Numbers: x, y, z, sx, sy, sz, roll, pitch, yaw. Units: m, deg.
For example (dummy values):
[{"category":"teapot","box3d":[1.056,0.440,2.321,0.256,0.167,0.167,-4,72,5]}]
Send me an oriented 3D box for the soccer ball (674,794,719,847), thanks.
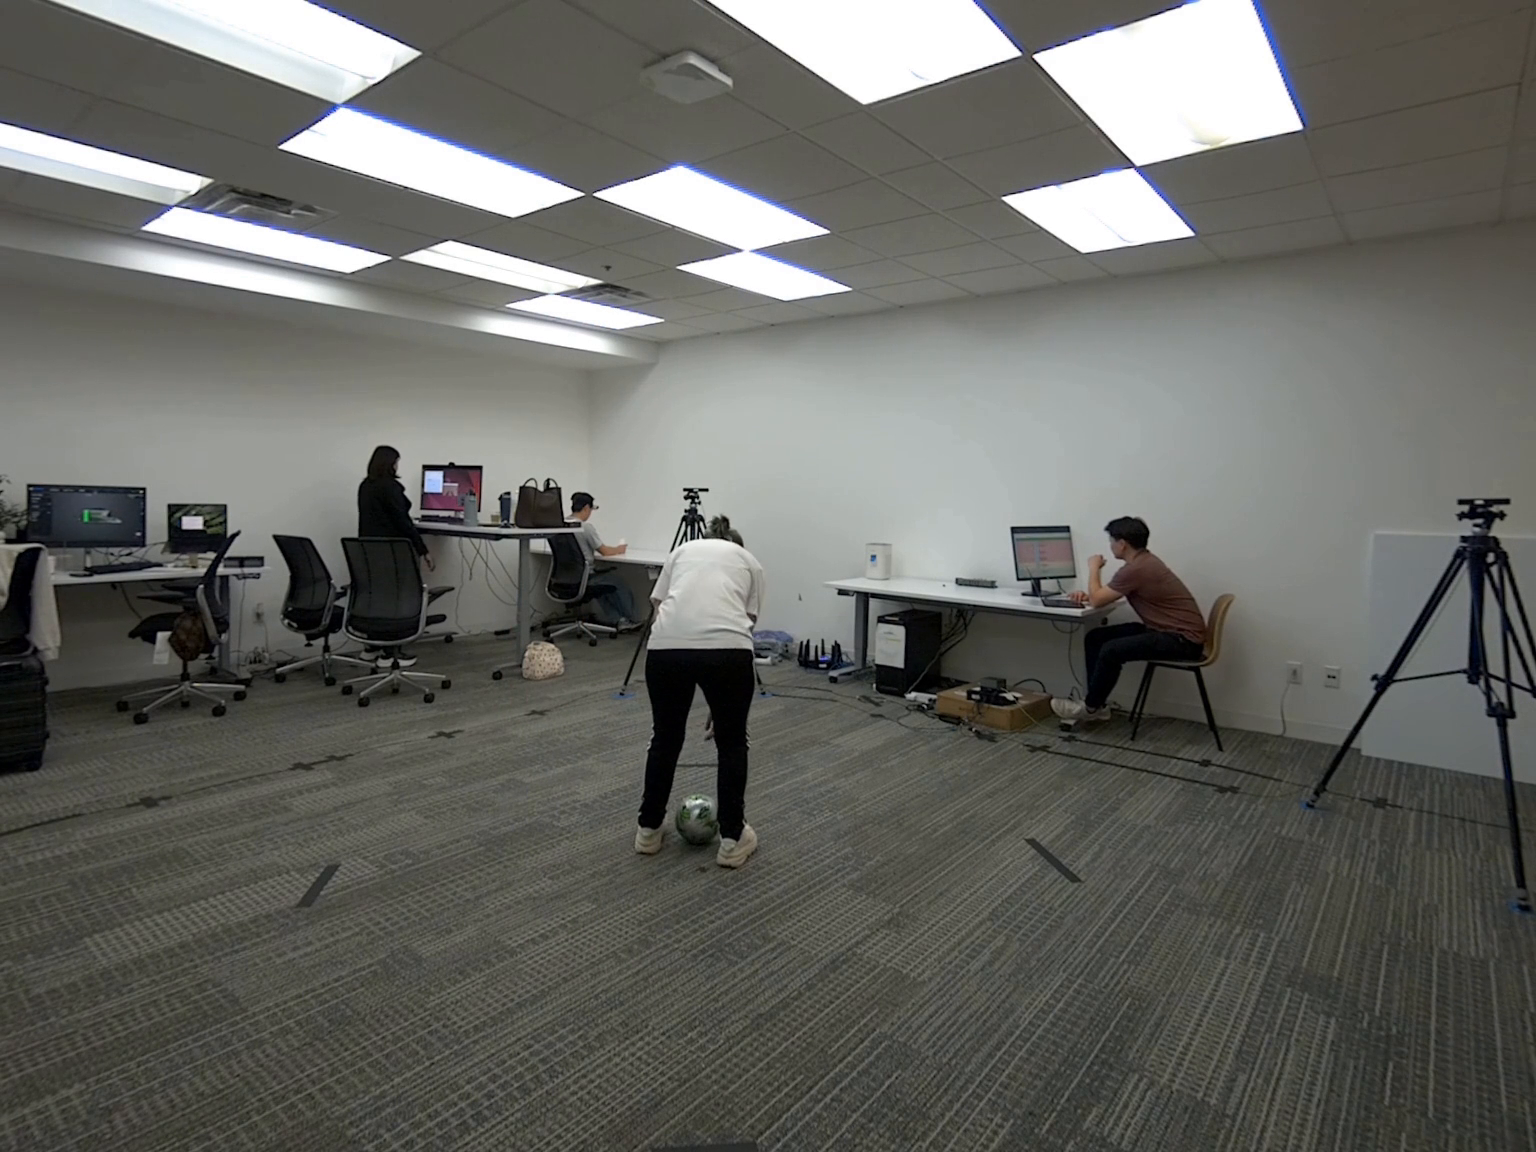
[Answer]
[{"category":"soccer ball","box3d":[-0.285,0.956,3.346,0.187,0.187,0.188,1,4,-2]}]
